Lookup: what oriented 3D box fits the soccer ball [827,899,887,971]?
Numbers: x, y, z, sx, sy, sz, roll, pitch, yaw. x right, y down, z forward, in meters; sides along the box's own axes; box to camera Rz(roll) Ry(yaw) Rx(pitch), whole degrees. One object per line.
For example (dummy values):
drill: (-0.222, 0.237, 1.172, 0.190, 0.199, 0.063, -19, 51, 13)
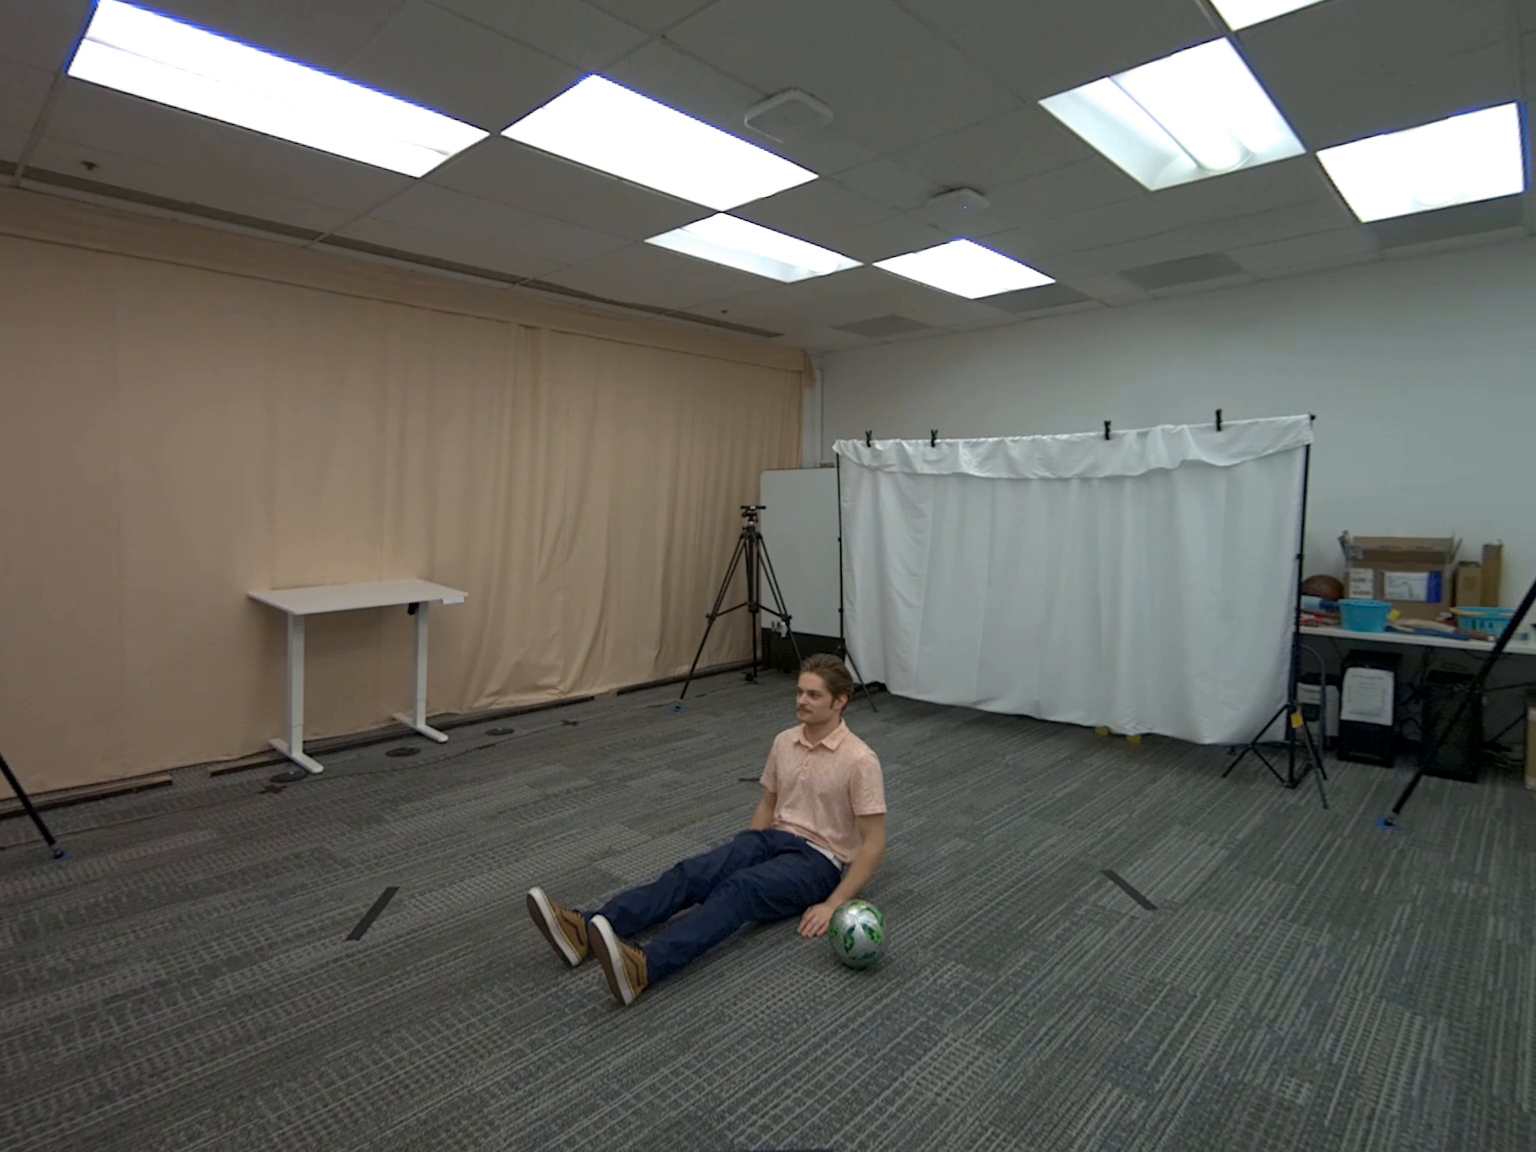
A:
soccer ball: (0.273, 1.075, 2.564, 0.187, 0.187, 0.188, 0, 4, -2)
